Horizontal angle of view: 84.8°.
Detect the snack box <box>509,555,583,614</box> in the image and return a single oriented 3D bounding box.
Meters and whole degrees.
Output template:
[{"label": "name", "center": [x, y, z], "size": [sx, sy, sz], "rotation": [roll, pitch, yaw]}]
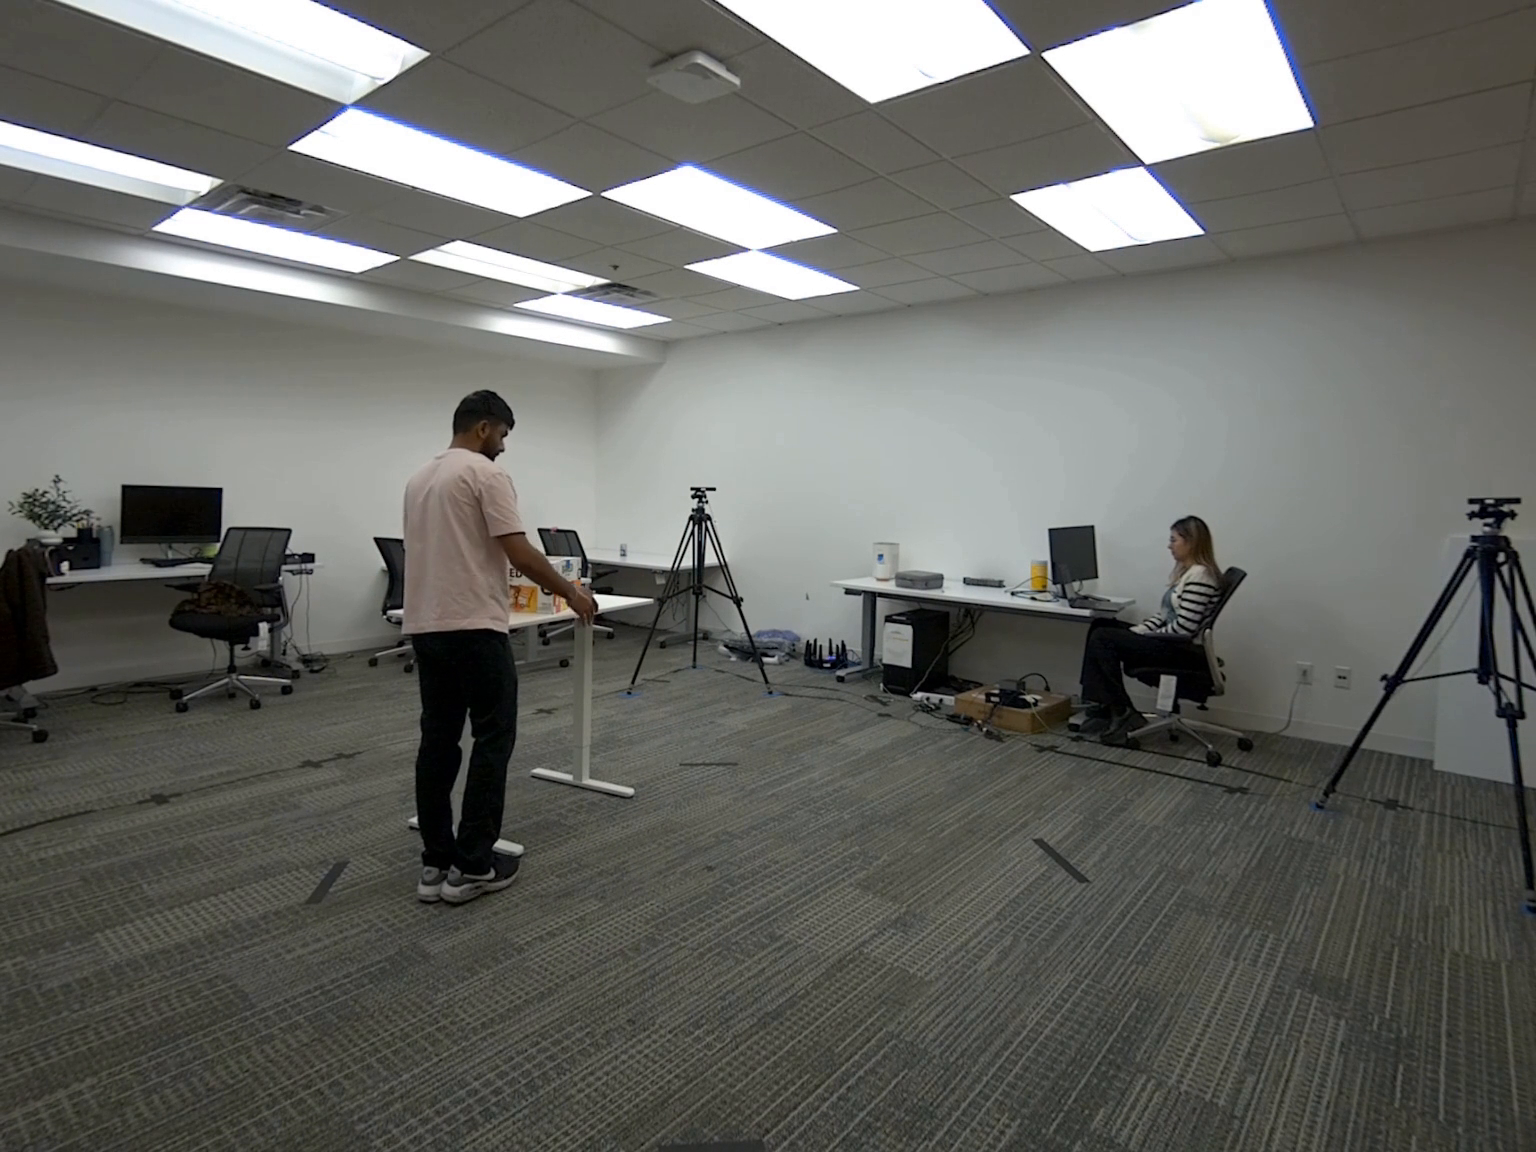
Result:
[{"label": "snack box", "center": [-1.034, 0.023, 3.541], "size": [0.409, 0.205, 0.338], "rotation": [1, 4, 8]}]
